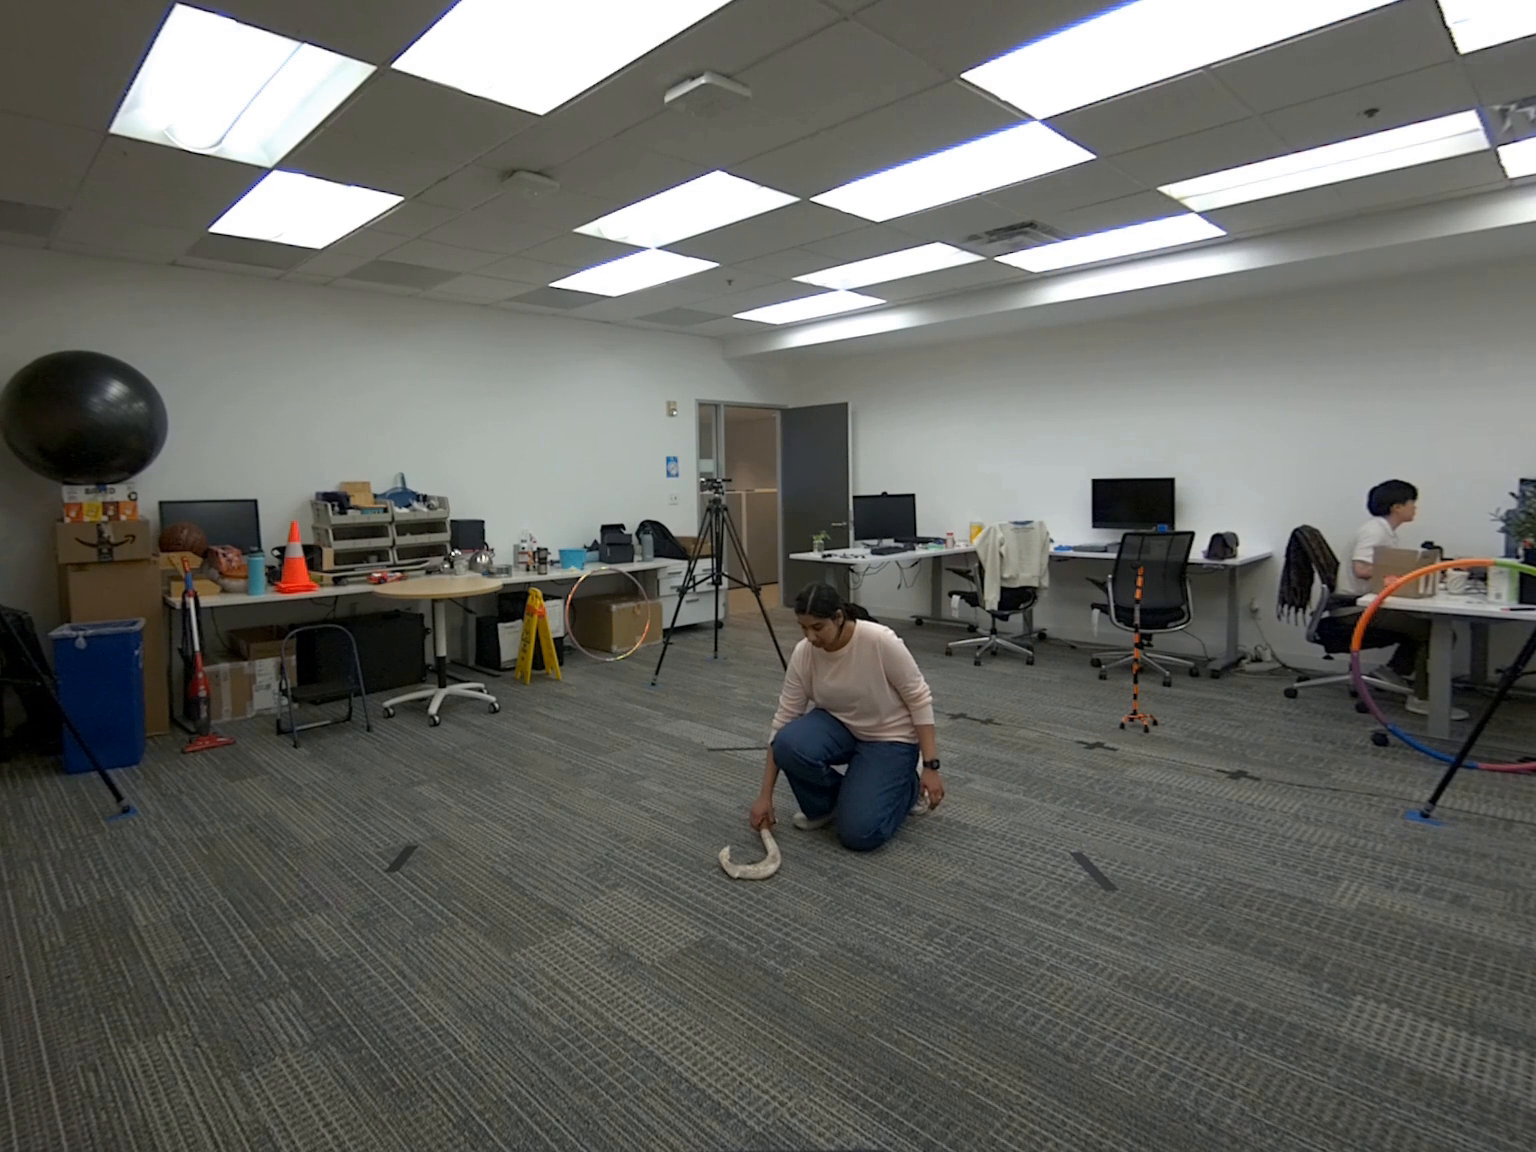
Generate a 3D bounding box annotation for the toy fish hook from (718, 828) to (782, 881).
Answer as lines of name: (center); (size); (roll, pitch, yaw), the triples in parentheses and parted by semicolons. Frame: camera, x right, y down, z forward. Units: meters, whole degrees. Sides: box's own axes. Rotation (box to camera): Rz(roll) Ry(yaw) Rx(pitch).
toy fish hook: (-0.064, 0.988, 3.216); (0.225, 0.048, 0.509); (1, 11, 2)
